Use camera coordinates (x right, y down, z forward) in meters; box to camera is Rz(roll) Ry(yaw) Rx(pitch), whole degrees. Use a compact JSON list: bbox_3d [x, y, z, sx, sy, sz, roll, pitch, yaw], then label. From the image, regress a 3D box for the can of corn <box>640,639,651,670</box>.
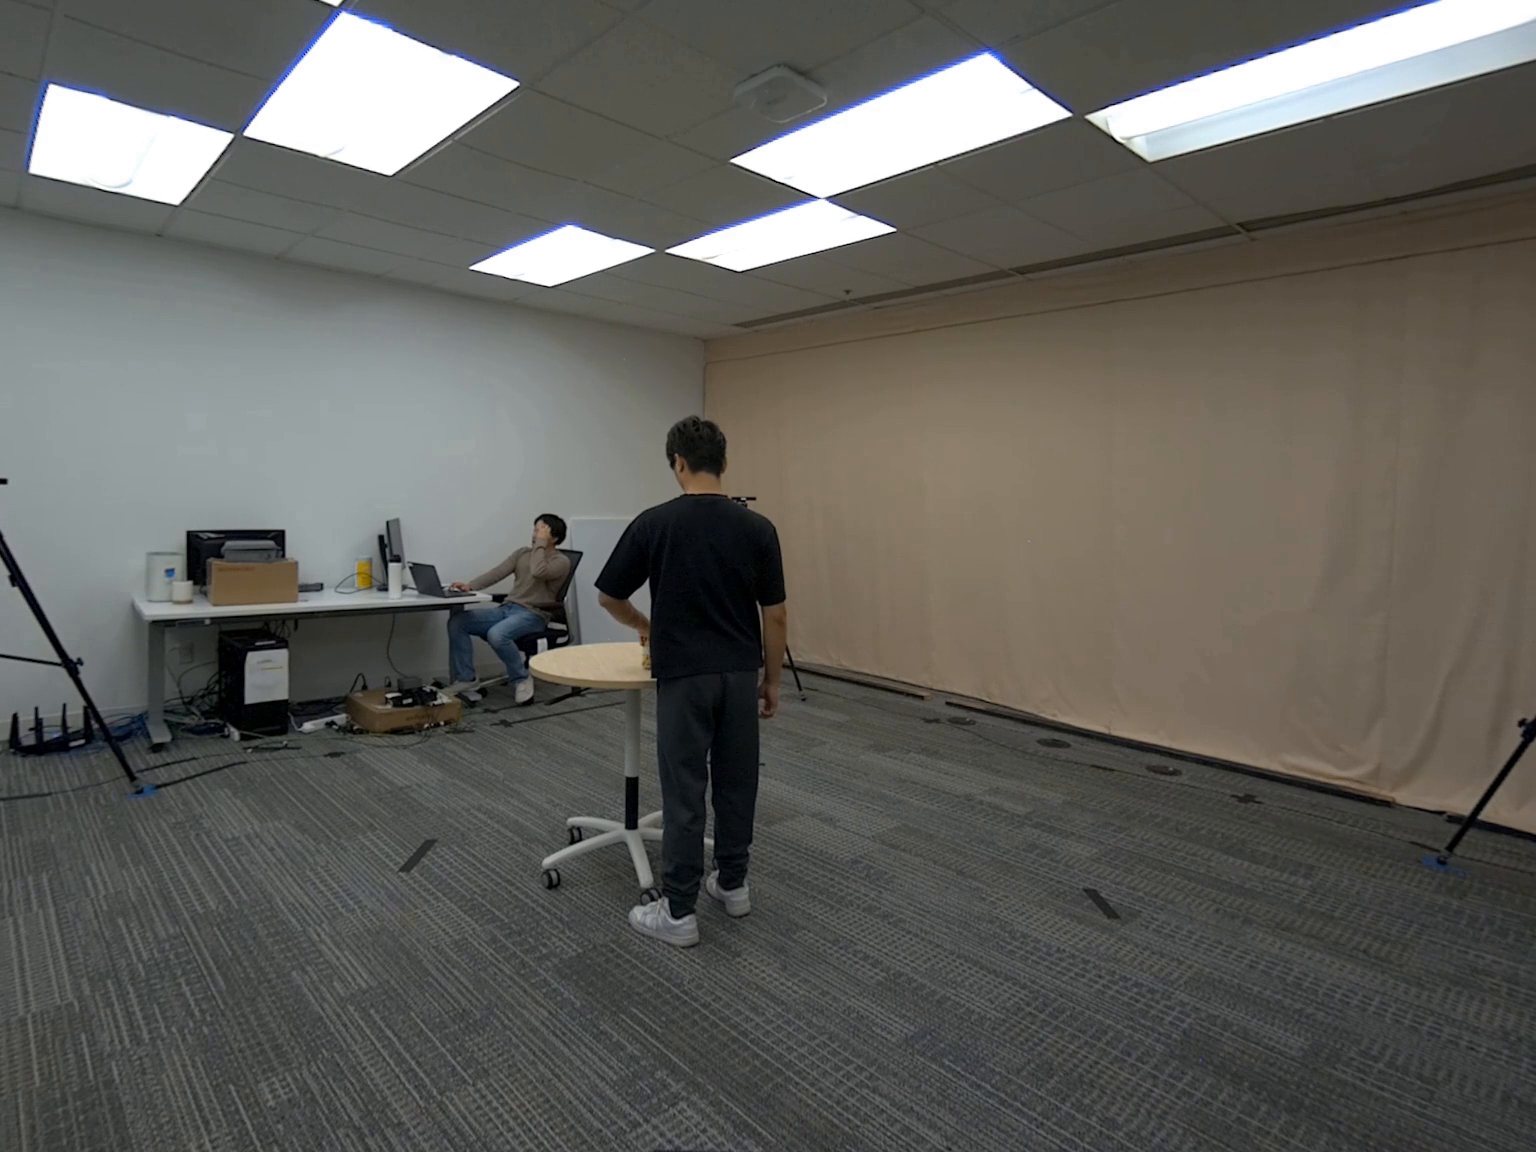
[{"bbox_3d":[-0.412,0.270,2.981,0.074,0.110,0.074,1,5,-1],"label":"can of corn"}]
